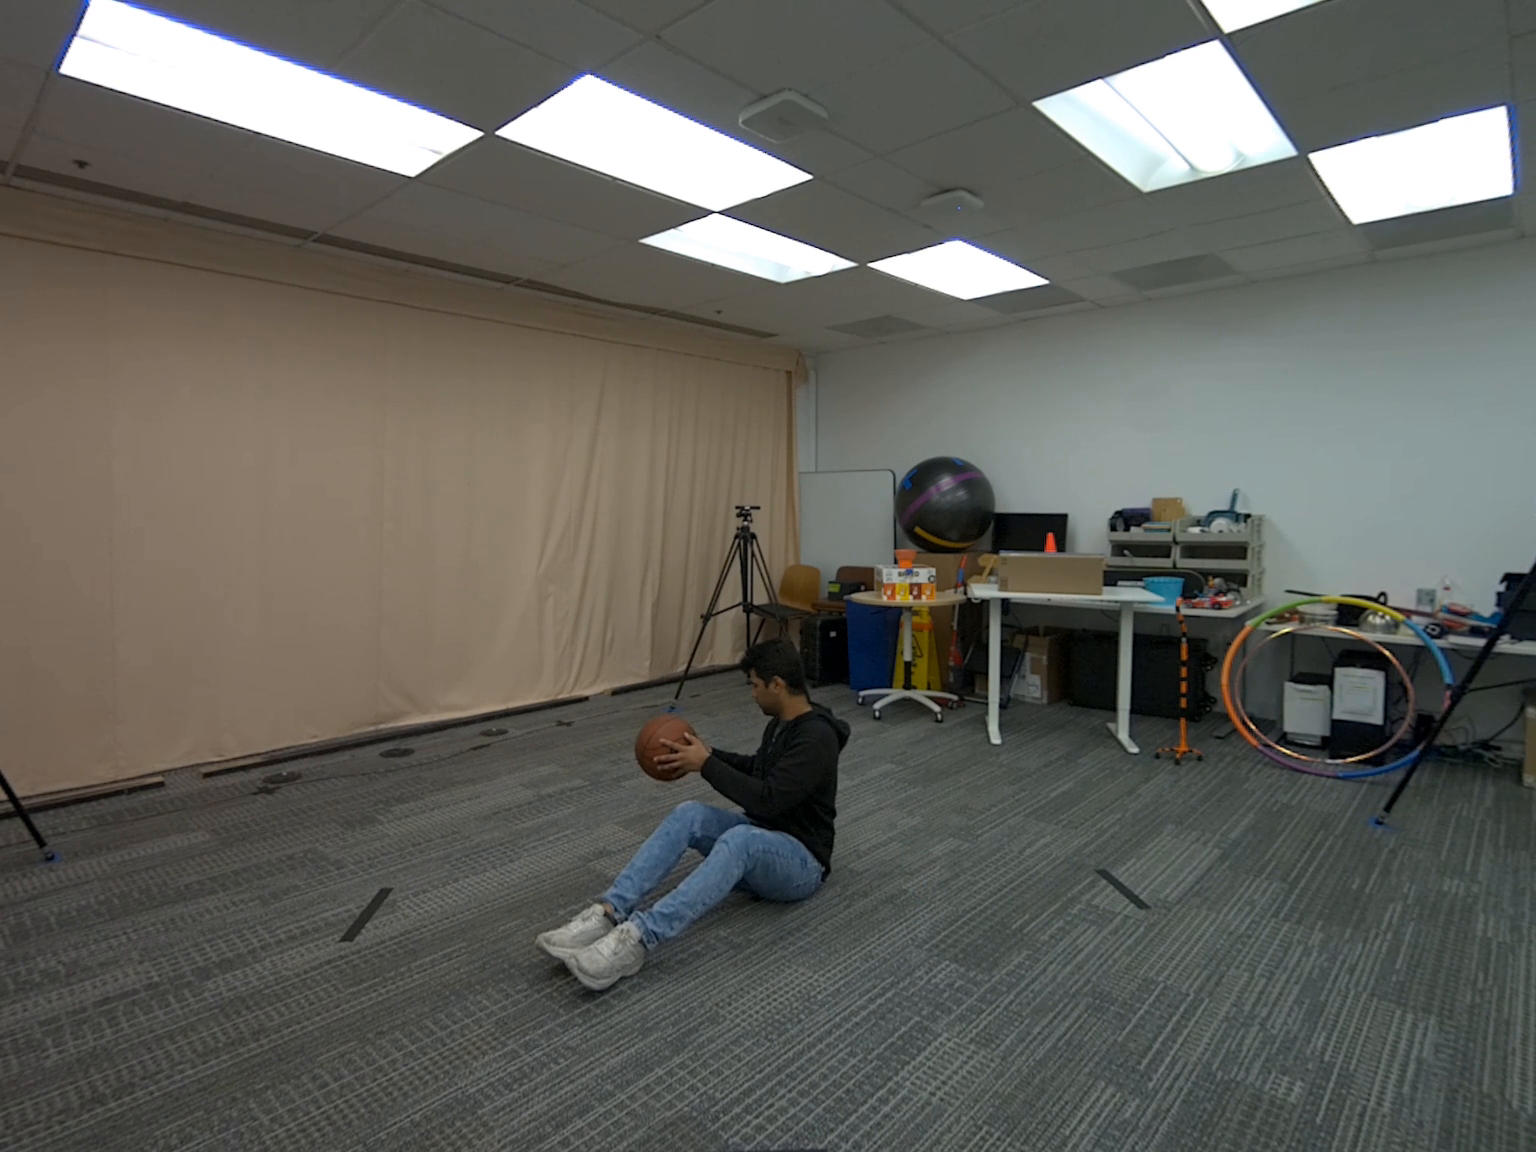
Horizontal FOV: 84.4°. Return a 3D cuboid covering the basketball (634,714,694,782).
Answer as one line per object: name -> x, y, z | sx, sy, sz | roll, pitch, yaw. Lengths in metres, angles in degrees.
basketball -> -0.327, 0.646, 3.077 | 0.236, 0.235, 0.237 | 0, 4, -2
